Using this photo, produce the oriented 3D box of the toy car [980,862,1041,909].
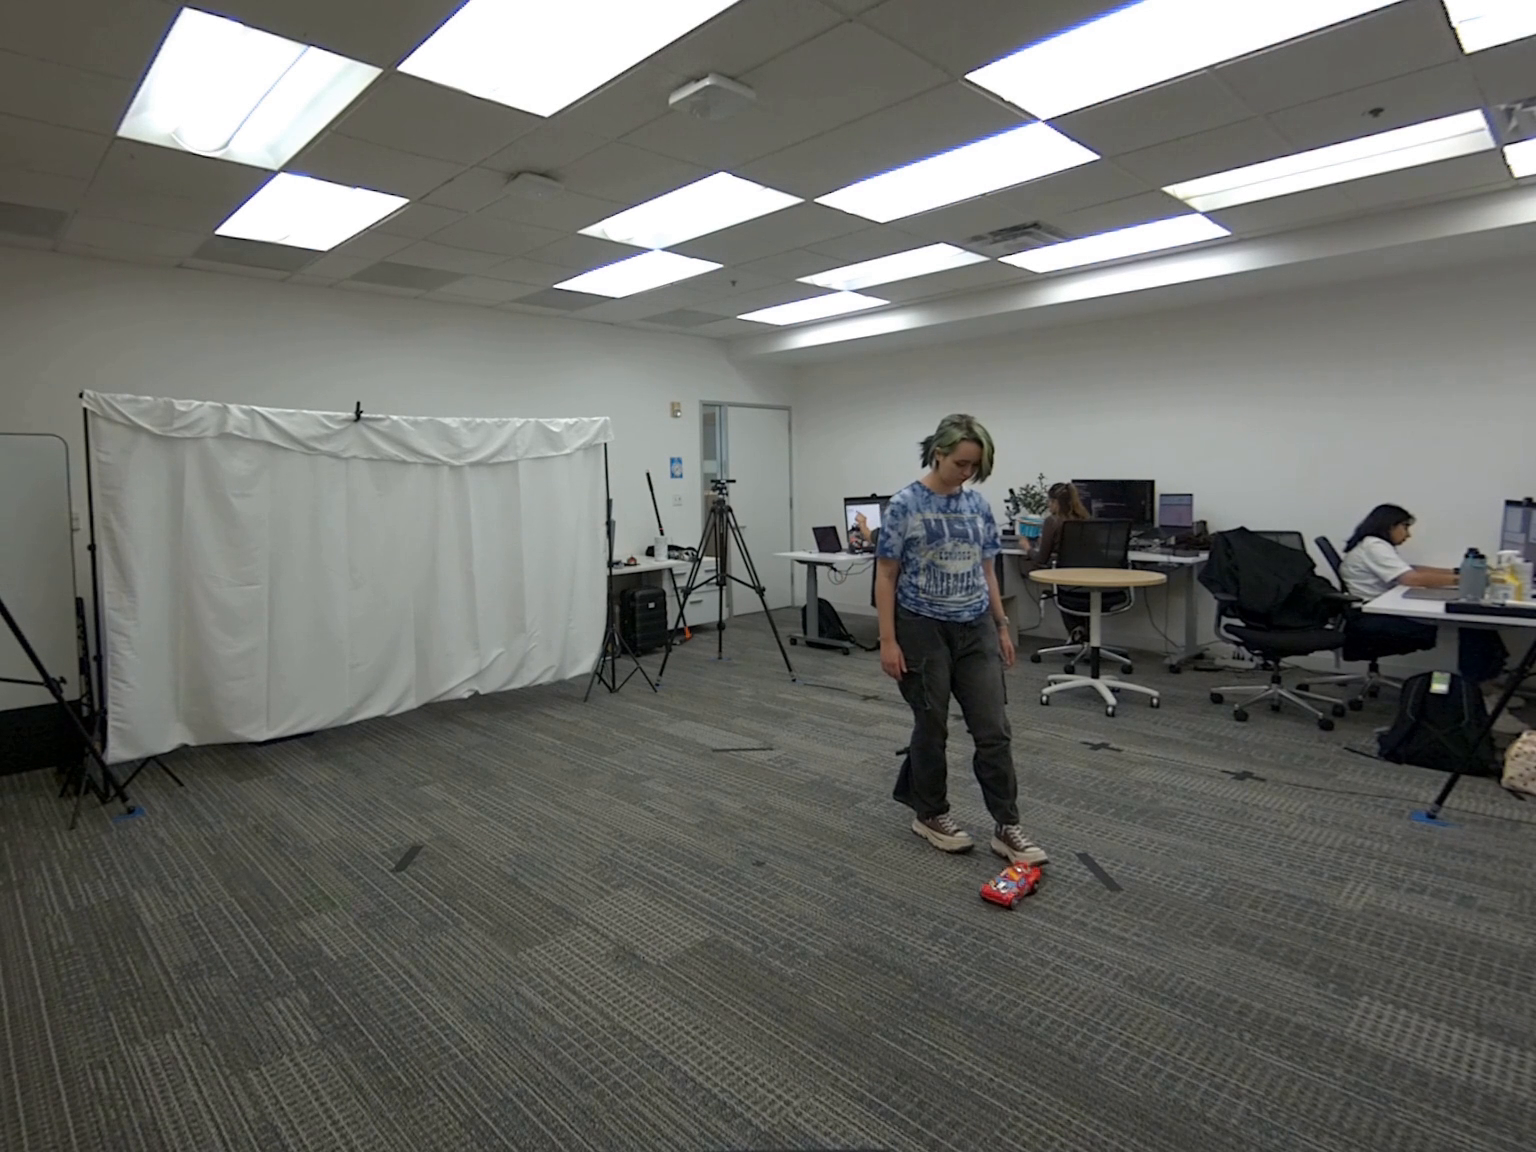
[{"bbox_3d":[0.821,1.026,2.850,0.134,0.082,0.250,5,21,44],"label":"toy car"}]
